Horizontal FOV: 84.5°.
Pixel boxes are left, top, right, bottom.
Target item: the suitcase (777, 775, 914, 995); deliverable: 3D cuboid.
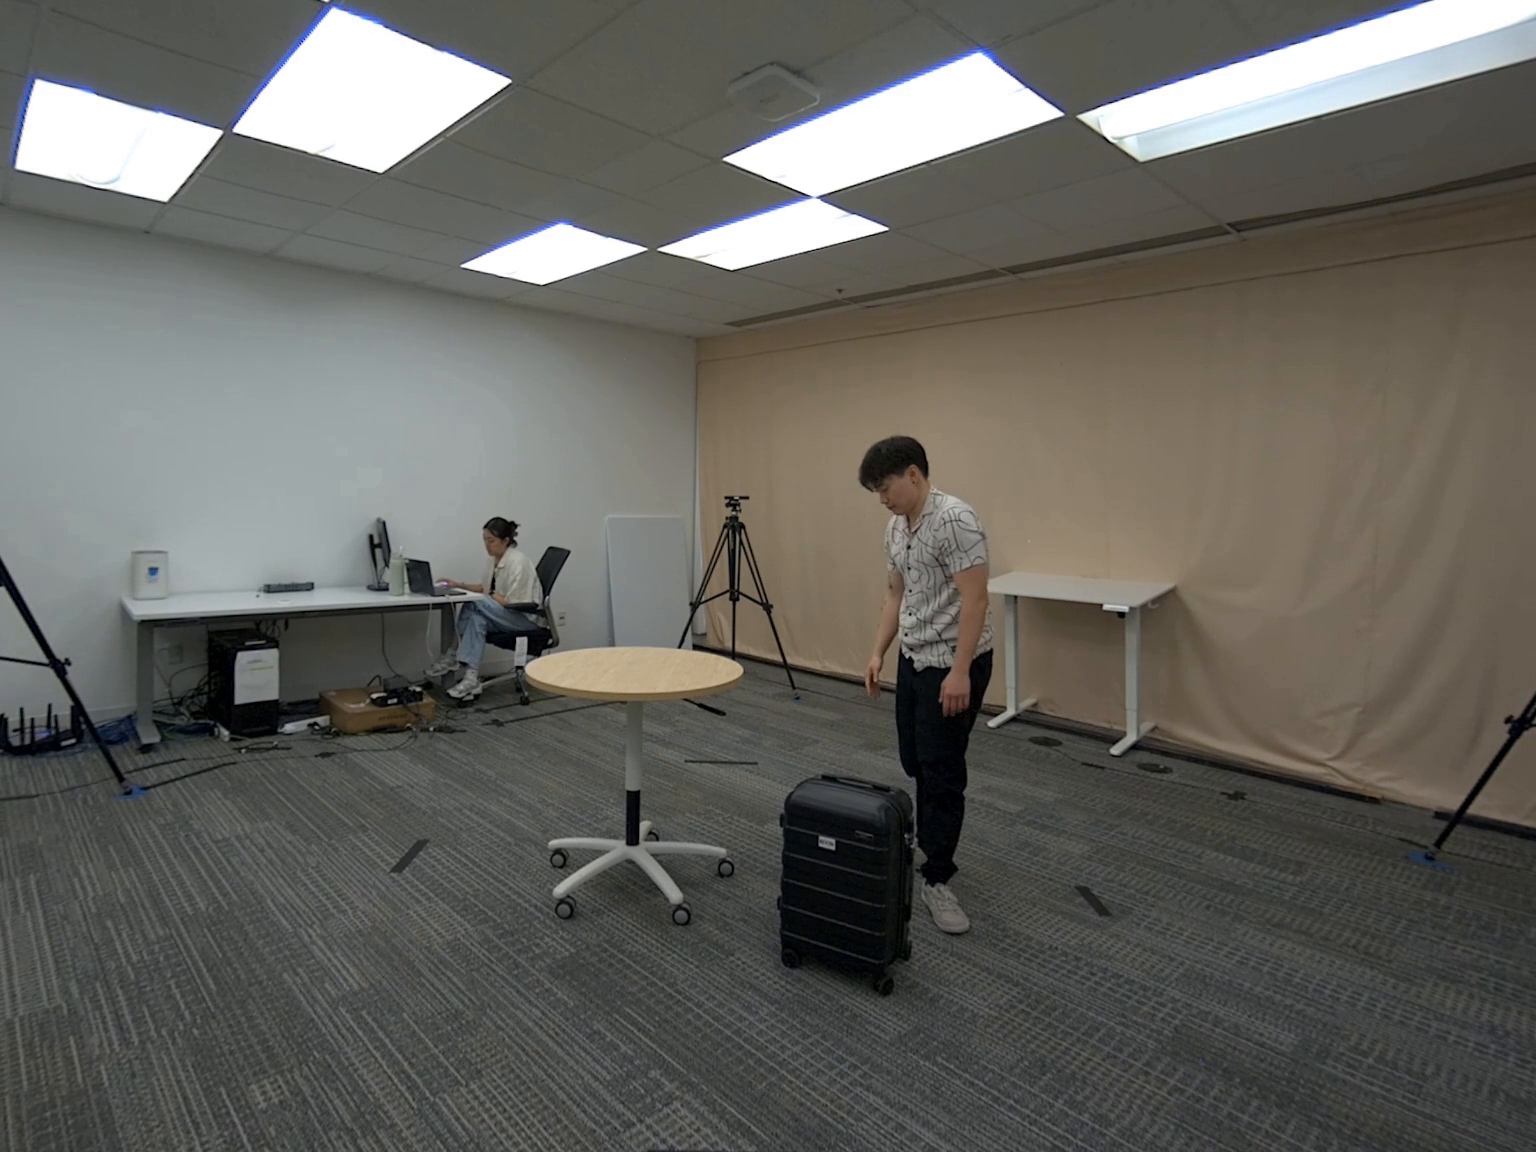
[{"bbox_3d":[0.235,0.893,2.519,0.384,0.547,0.244,4,5,30],"label":"suitcase"}]
